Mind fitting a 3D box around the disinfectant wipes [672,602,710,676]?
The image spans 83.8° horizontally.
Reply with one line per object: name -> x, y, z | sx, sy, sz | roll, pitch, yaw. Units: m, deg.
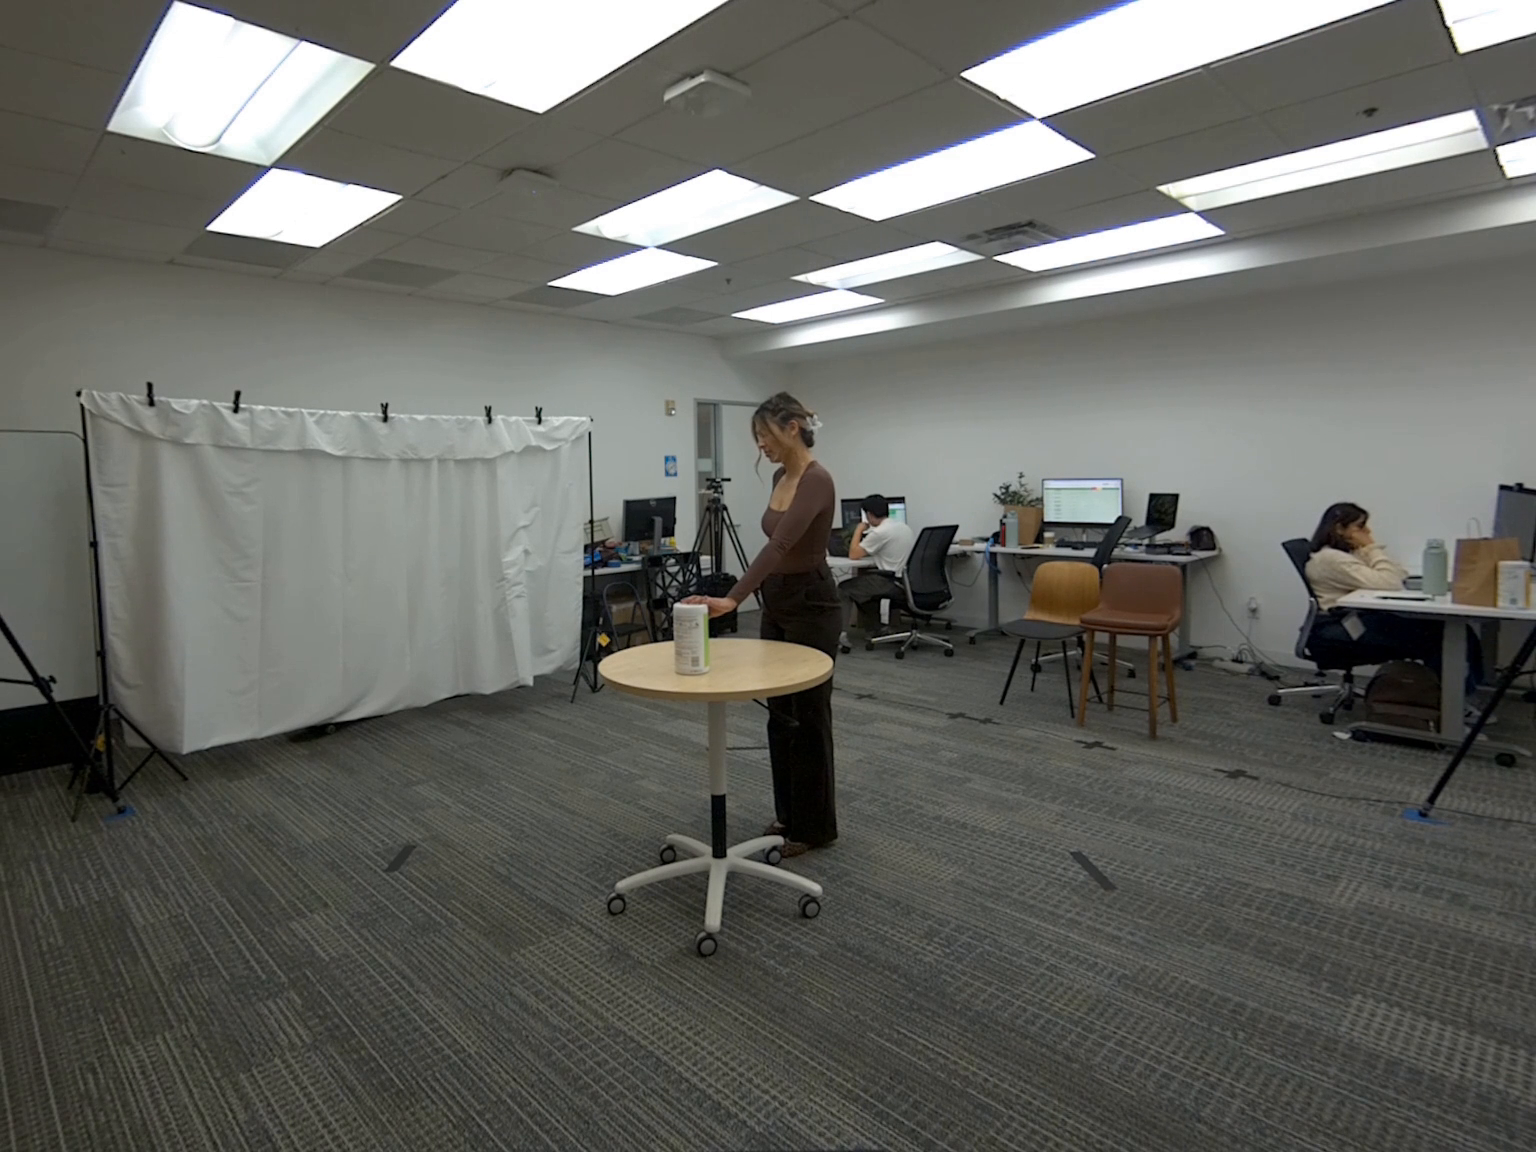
disinfectant wipes -> -0.236, 0.195, 2.662 | 0.118, 0.217, 0.118 | 0, 3, -2
